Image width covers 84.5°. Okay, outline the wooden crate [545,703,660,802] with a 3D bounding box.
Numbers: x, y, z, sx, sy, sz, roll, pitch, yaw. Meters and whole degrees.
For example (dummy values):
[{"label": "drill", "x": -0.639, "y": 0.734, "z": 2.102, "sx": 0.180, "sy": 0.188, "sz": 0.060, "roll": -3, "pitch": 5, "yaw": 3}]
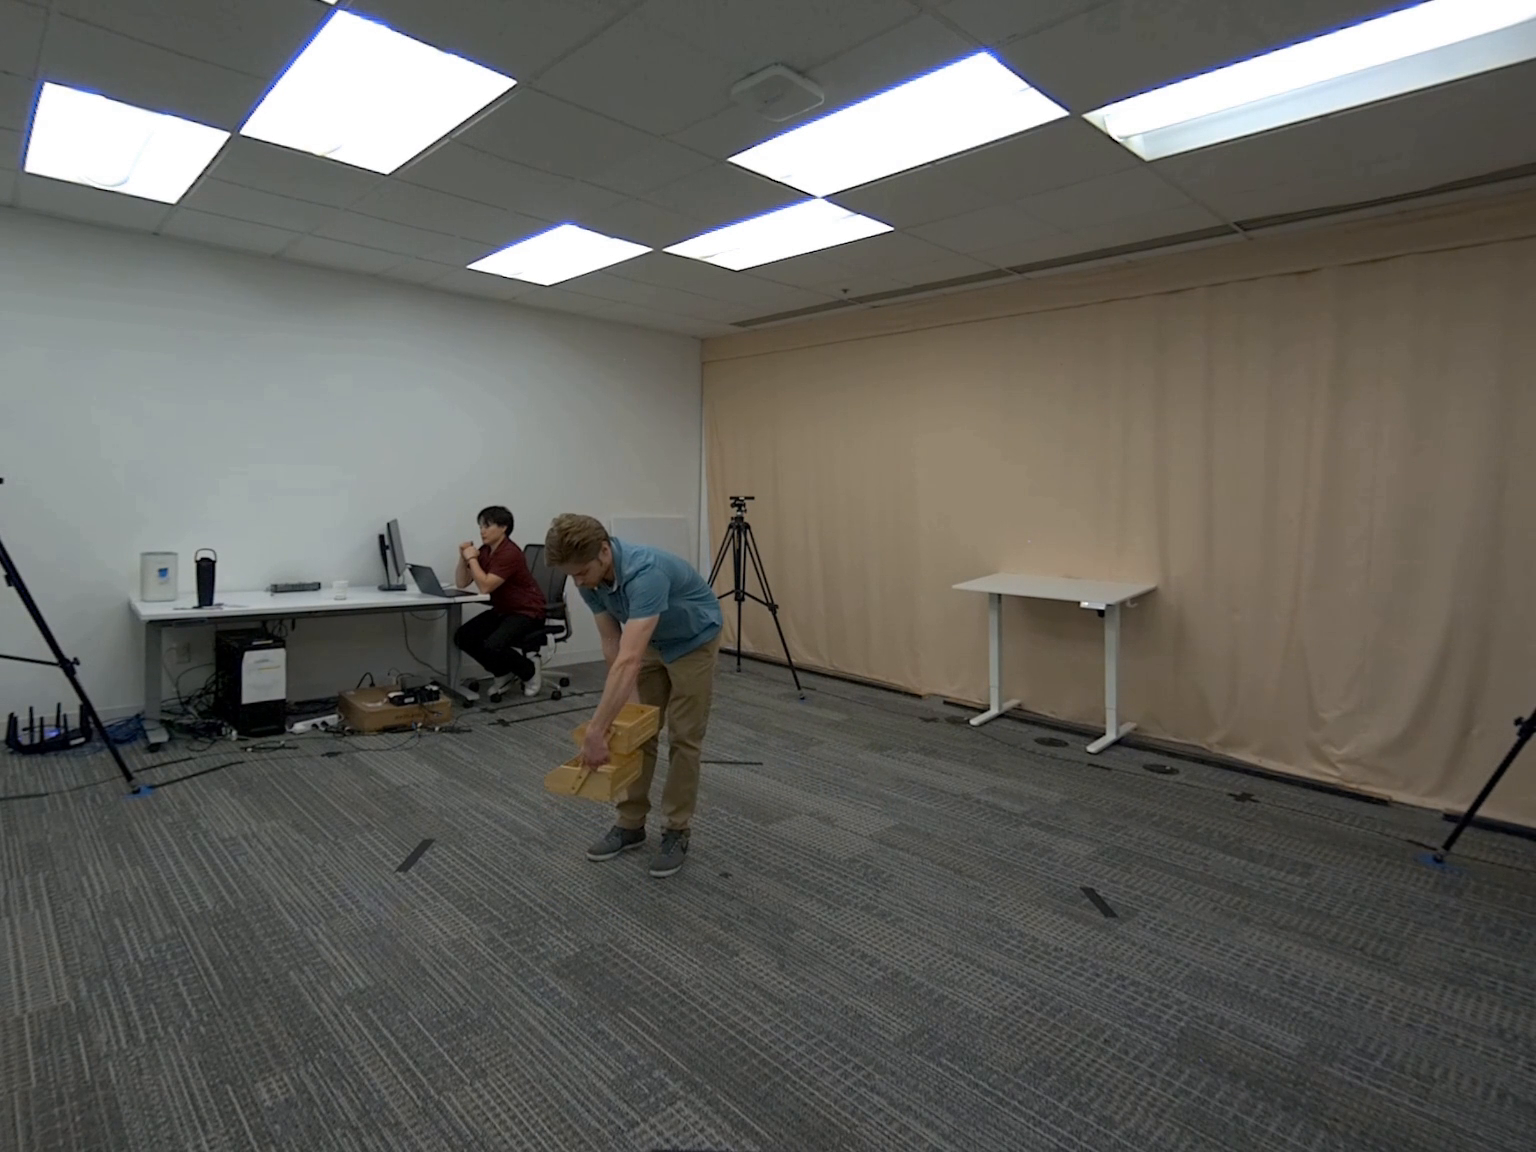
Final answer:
[{"label": "wooden crate", "x": -0.610, "y": 0.609, "z": 2.967, "sx": 0.305, "sy": 0.272, "sz": 0.321, "roll": 5, "pitch": 4, "yaw": 13}]
